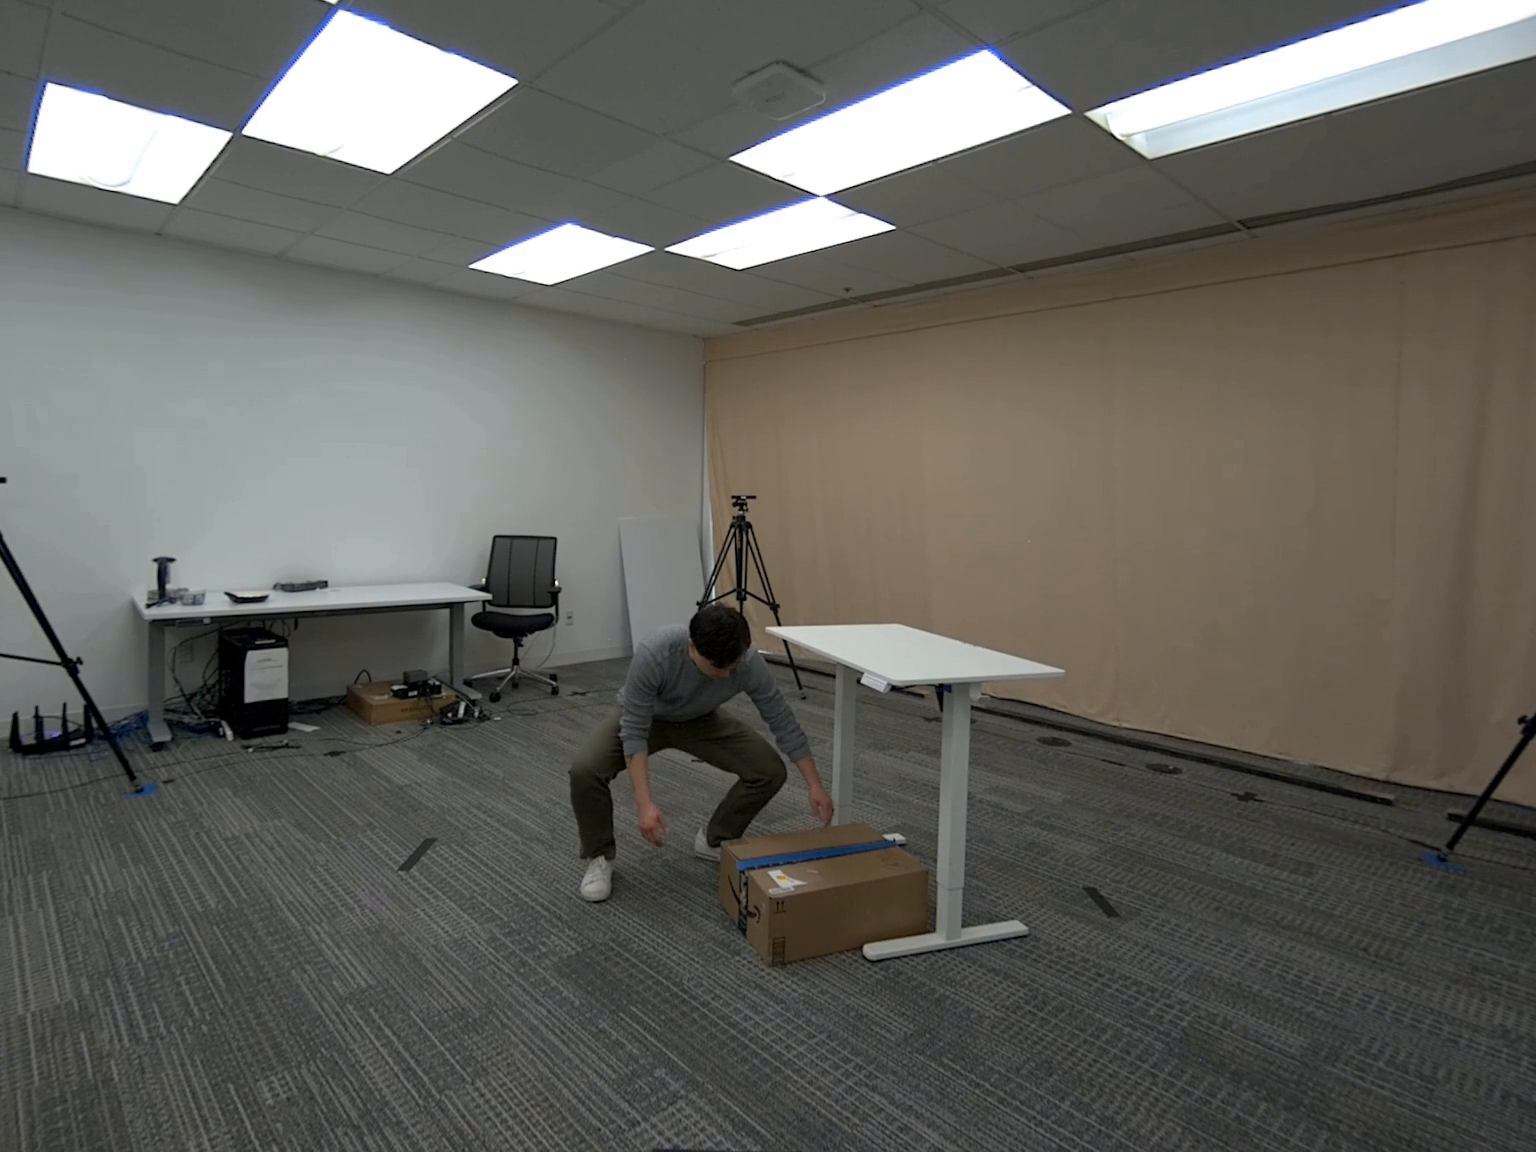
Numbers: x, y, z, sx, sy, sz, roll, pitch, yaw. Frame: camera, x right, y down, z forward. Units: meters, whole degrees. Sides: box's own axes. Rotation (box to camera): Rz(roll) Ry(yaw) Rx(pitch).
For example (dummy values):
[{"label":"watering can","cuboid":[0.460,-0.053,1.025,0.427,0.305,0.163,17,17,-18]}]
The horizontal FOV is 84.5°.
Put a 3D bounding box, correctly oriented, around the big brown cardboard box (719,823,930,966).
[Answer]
[{"label":"big brown cardboard box","cuboid":[0.170,1.027,2.774,0.579,0.232,0.426,-1,5,-24]}]
